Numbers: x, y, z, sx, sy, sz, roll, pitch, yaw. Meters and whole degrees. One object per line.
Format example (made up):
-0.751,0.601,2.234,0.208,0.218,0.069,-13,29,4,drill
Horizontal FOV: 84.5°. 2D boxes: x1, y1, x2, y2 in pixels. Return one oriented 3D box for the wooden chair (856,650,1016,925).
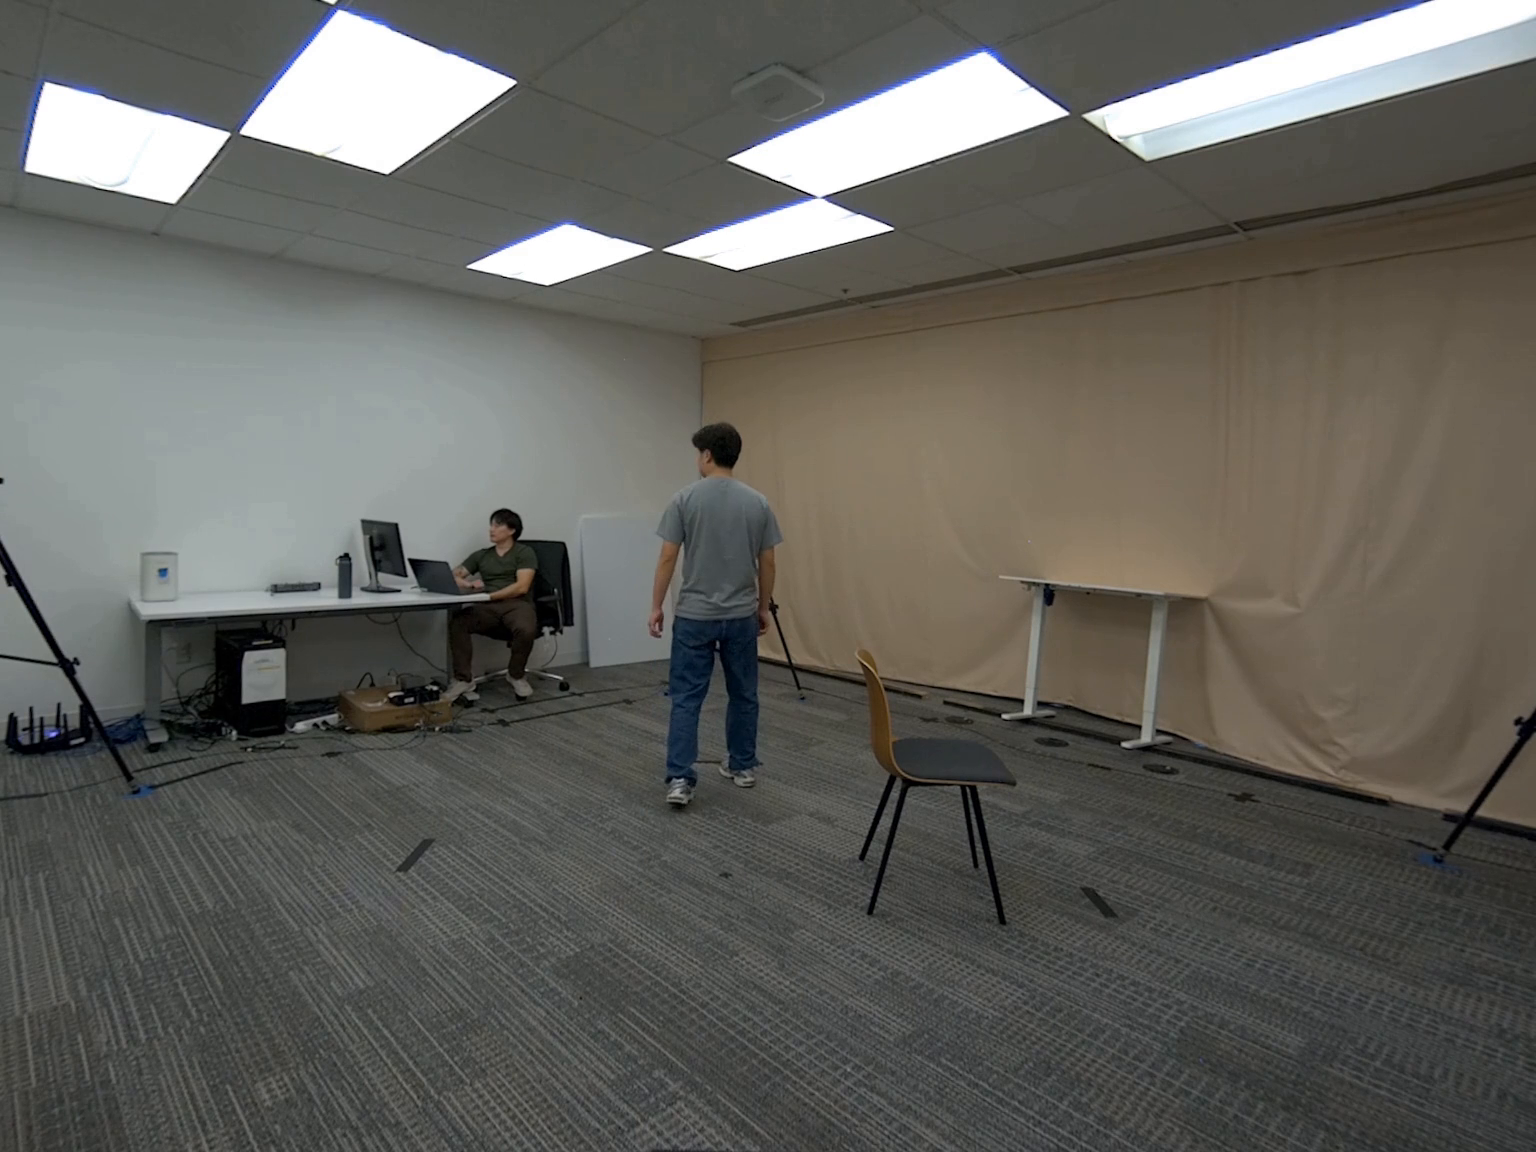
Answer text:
0.587,0.706,3.004,0.524,0.875,0.478,-1,3,3,wooden chair
